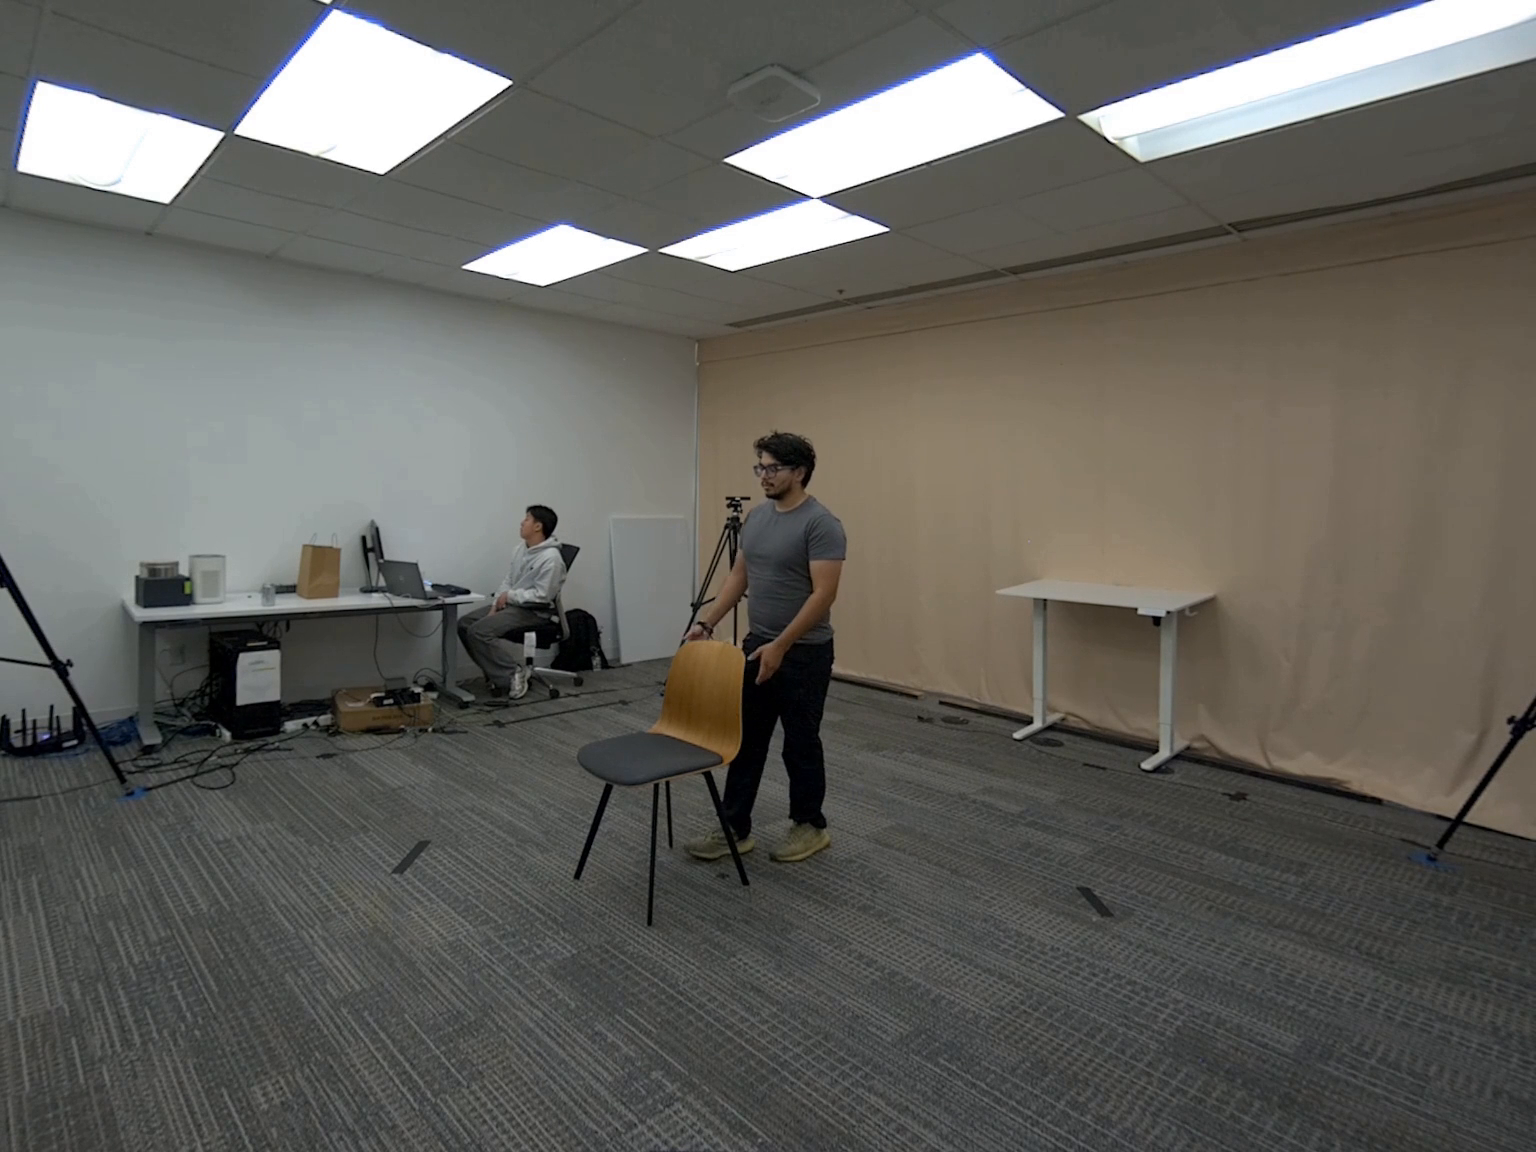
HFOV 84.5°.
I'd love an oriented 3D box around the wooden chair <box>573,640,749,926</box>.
[{"bbox_3d":[-0.385,0.681,2.999,0.510,0.877,0.490,4,0,-44],"label":"wooden chair"}]
